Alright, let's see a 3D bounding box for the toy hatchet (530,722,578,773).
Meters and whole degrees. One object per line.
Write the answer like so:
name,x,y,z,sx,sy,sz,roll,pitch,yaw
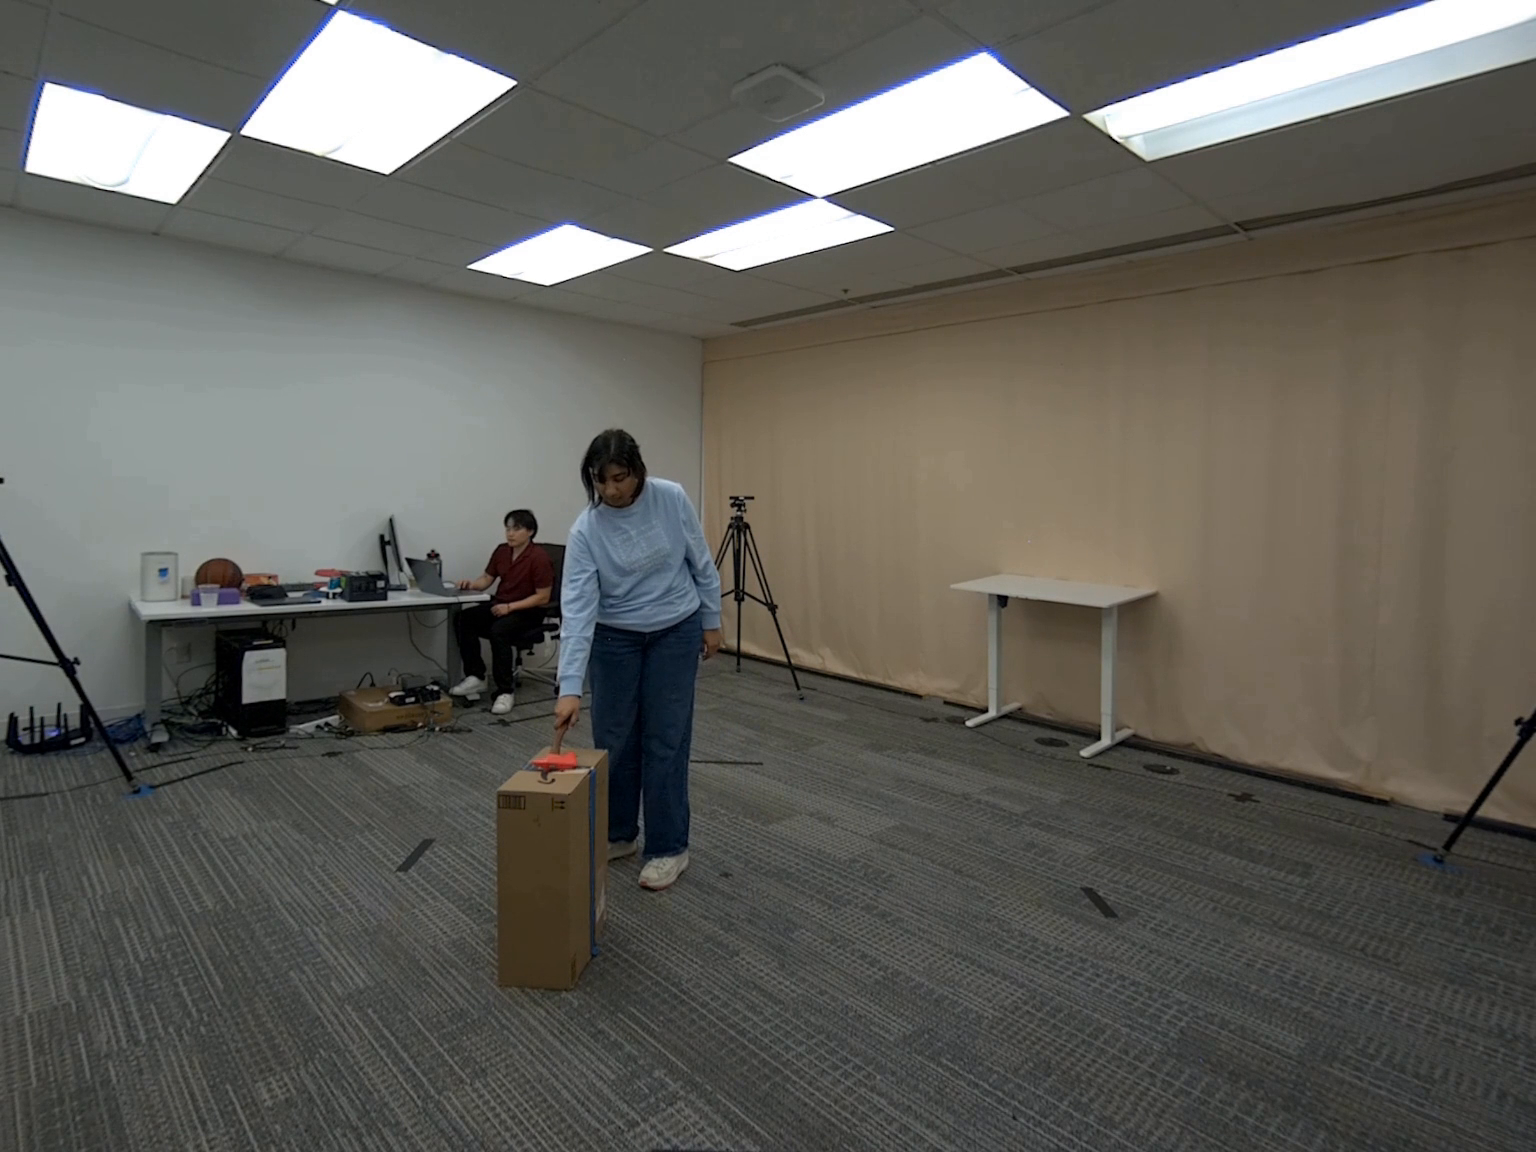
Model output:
toy hatchet,-0.623,0.526,2.622,0.133,0.029,0.271,9,27,14
